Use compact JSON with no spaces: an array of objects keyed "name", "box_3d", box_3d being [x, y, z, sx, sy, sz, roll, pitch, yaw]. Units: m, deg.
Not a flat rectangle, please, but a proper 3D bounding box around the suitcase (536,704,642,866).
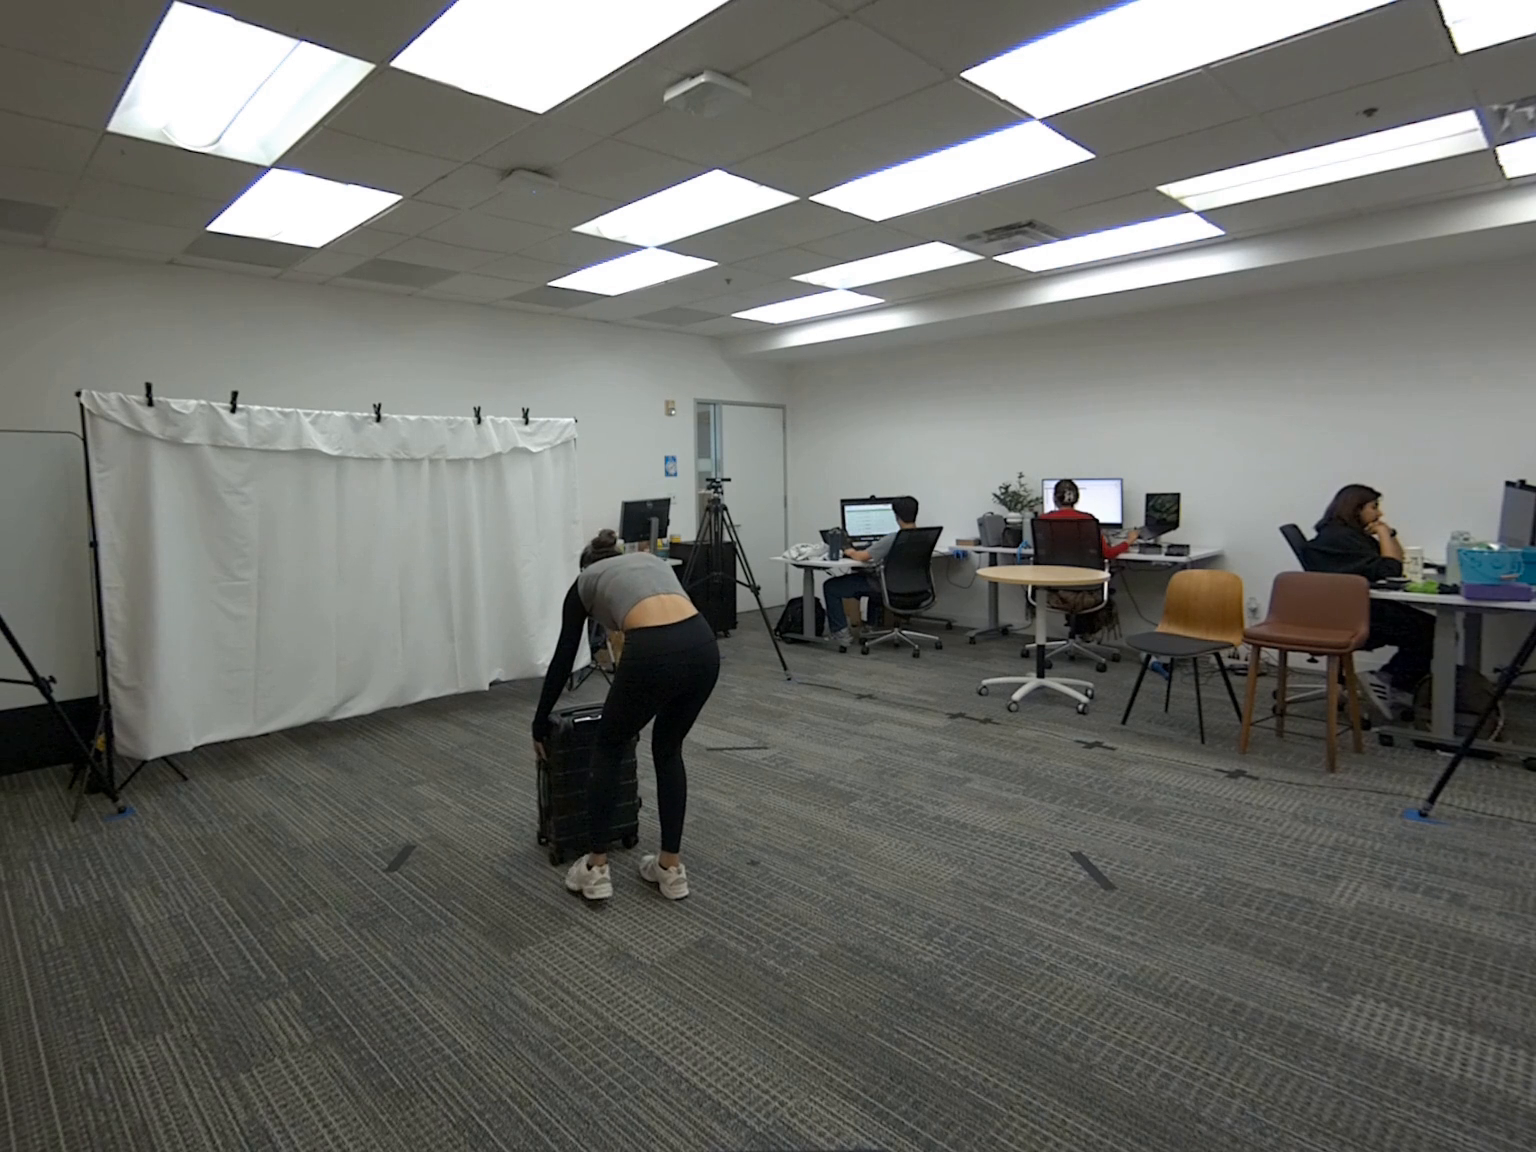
[{"name":"suitcase","box_3d":[-0.694,0.762,3.254,0.367,0.547,0.255,-3,6,-28]}]
